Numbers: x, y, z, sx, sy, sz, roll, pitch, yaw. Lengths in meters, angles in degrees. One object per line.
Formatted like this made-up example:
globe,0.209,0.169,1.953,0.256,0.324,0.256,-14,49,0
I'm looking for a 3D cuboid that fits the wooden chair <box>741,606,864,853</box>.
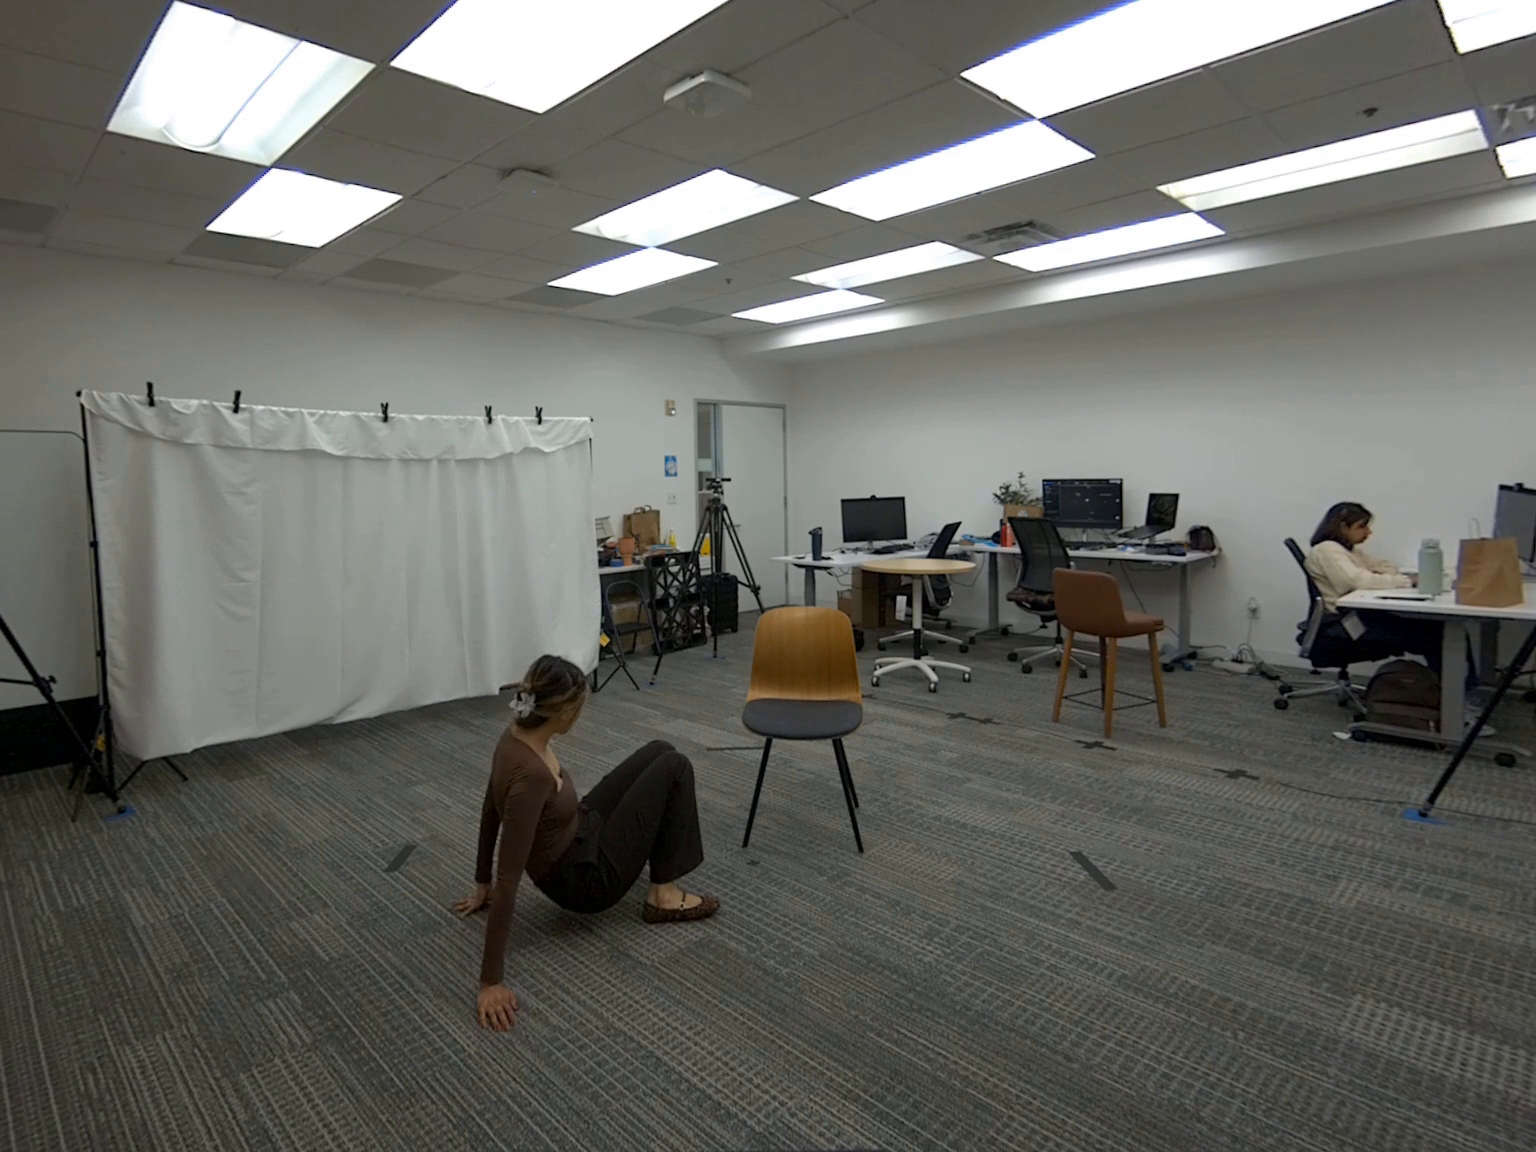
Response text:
wooden chair,0.145,0.580,3.384,0.481,0.877,0.520,0,0,6
